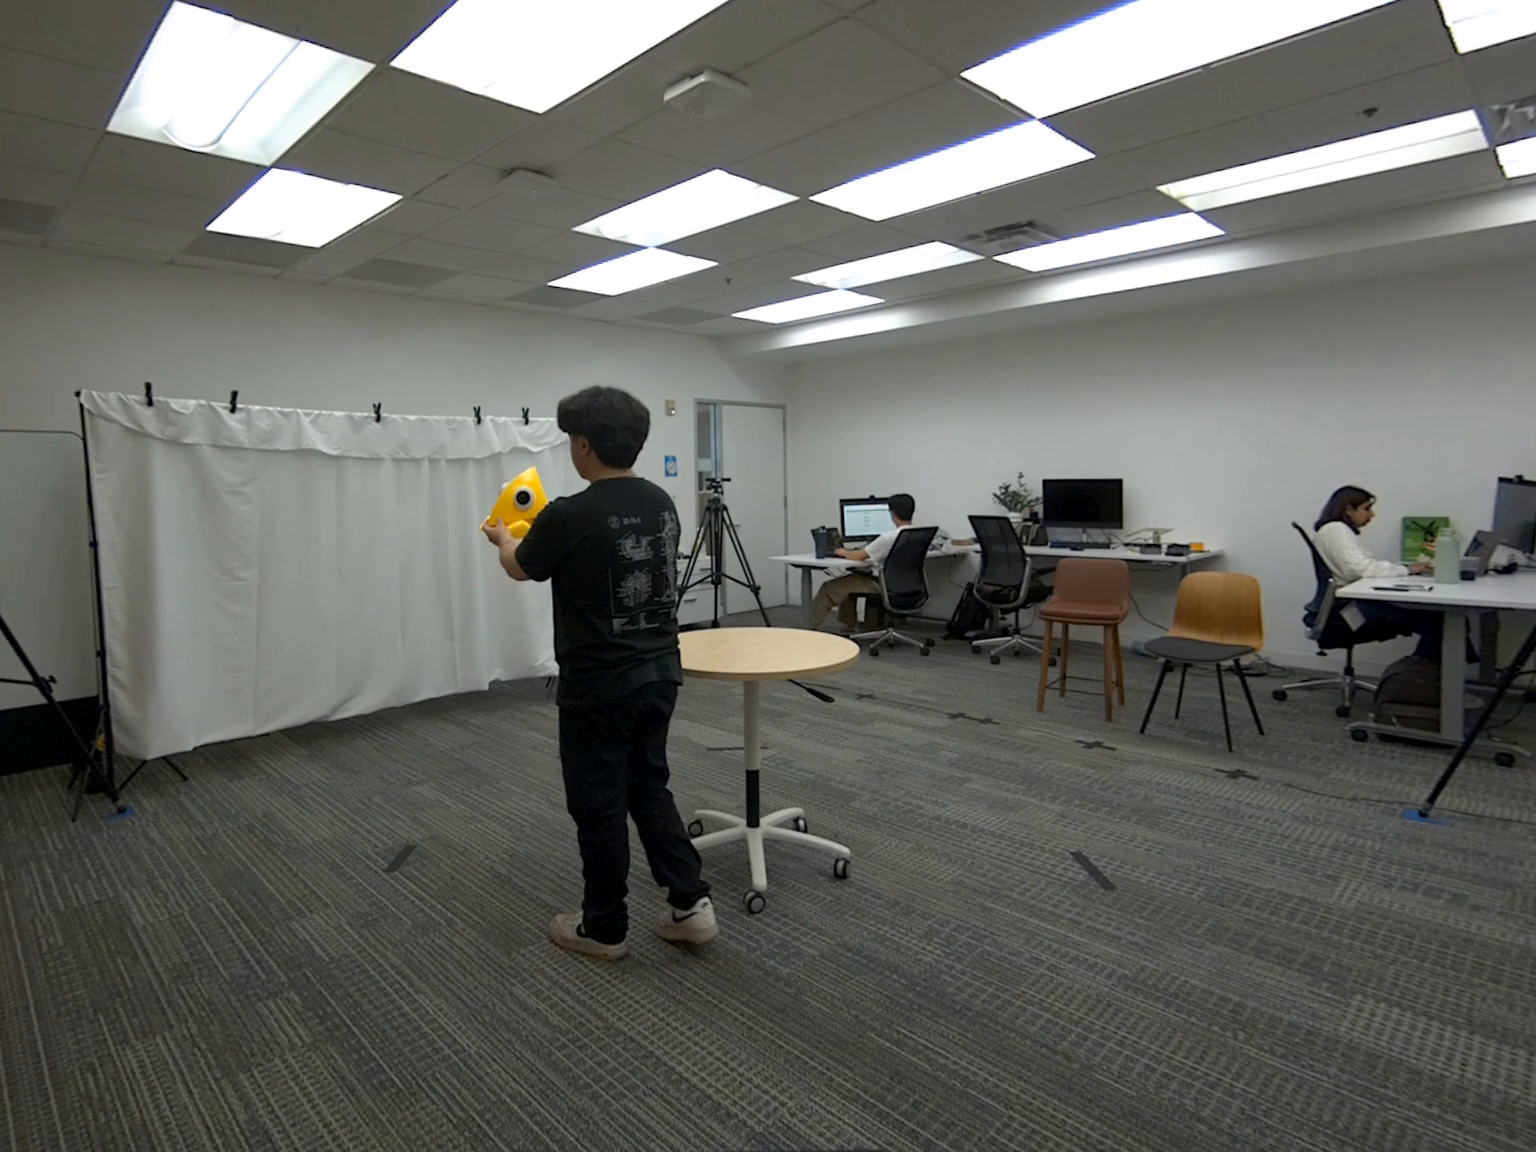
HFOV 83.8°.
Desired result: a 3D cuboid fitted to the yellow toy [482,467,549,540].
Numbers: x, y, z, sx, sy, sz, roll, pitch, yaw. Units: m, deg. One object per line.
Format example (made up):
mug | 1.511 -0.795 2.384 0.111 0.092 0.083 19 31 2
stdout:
yellow toy | -0.844 -0.253 2.862 0.212 0.229 0.187 14 10 41
